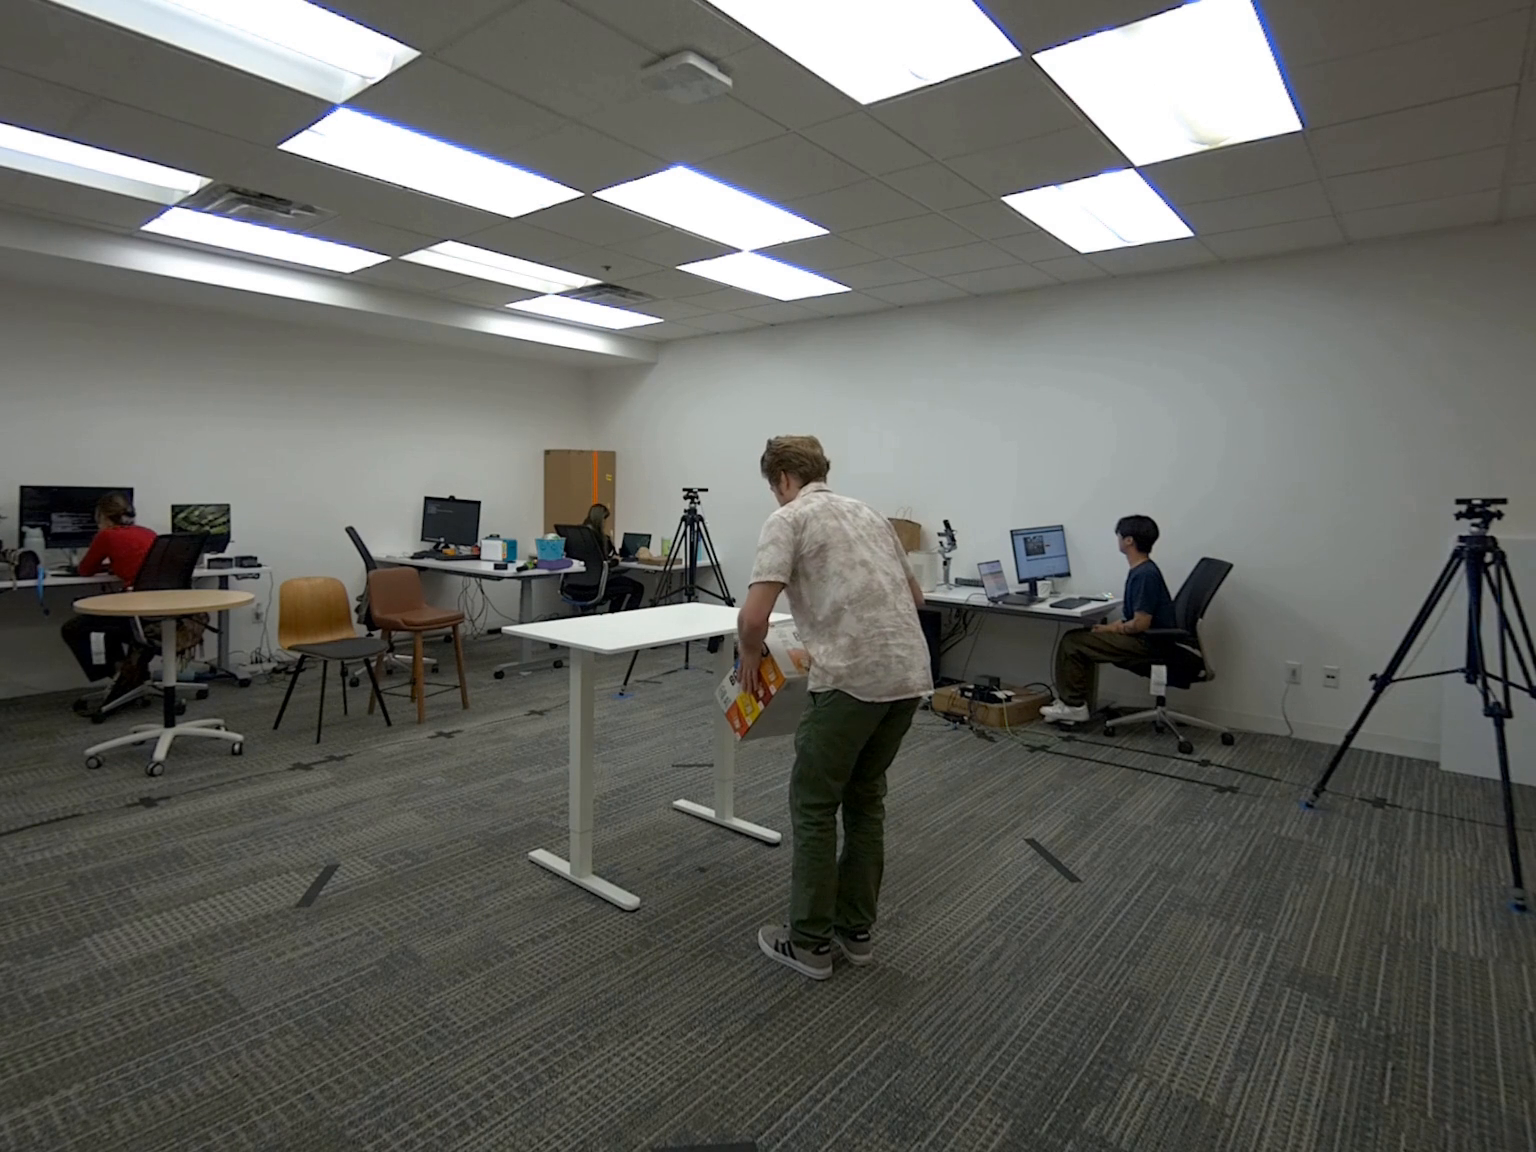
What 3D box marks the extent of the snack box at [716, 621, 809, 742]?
[{"bbox_3d":[0.086,0.354,2.853,0.393,0.338,0.214,0,46,-37],"label":"snack box"}]
